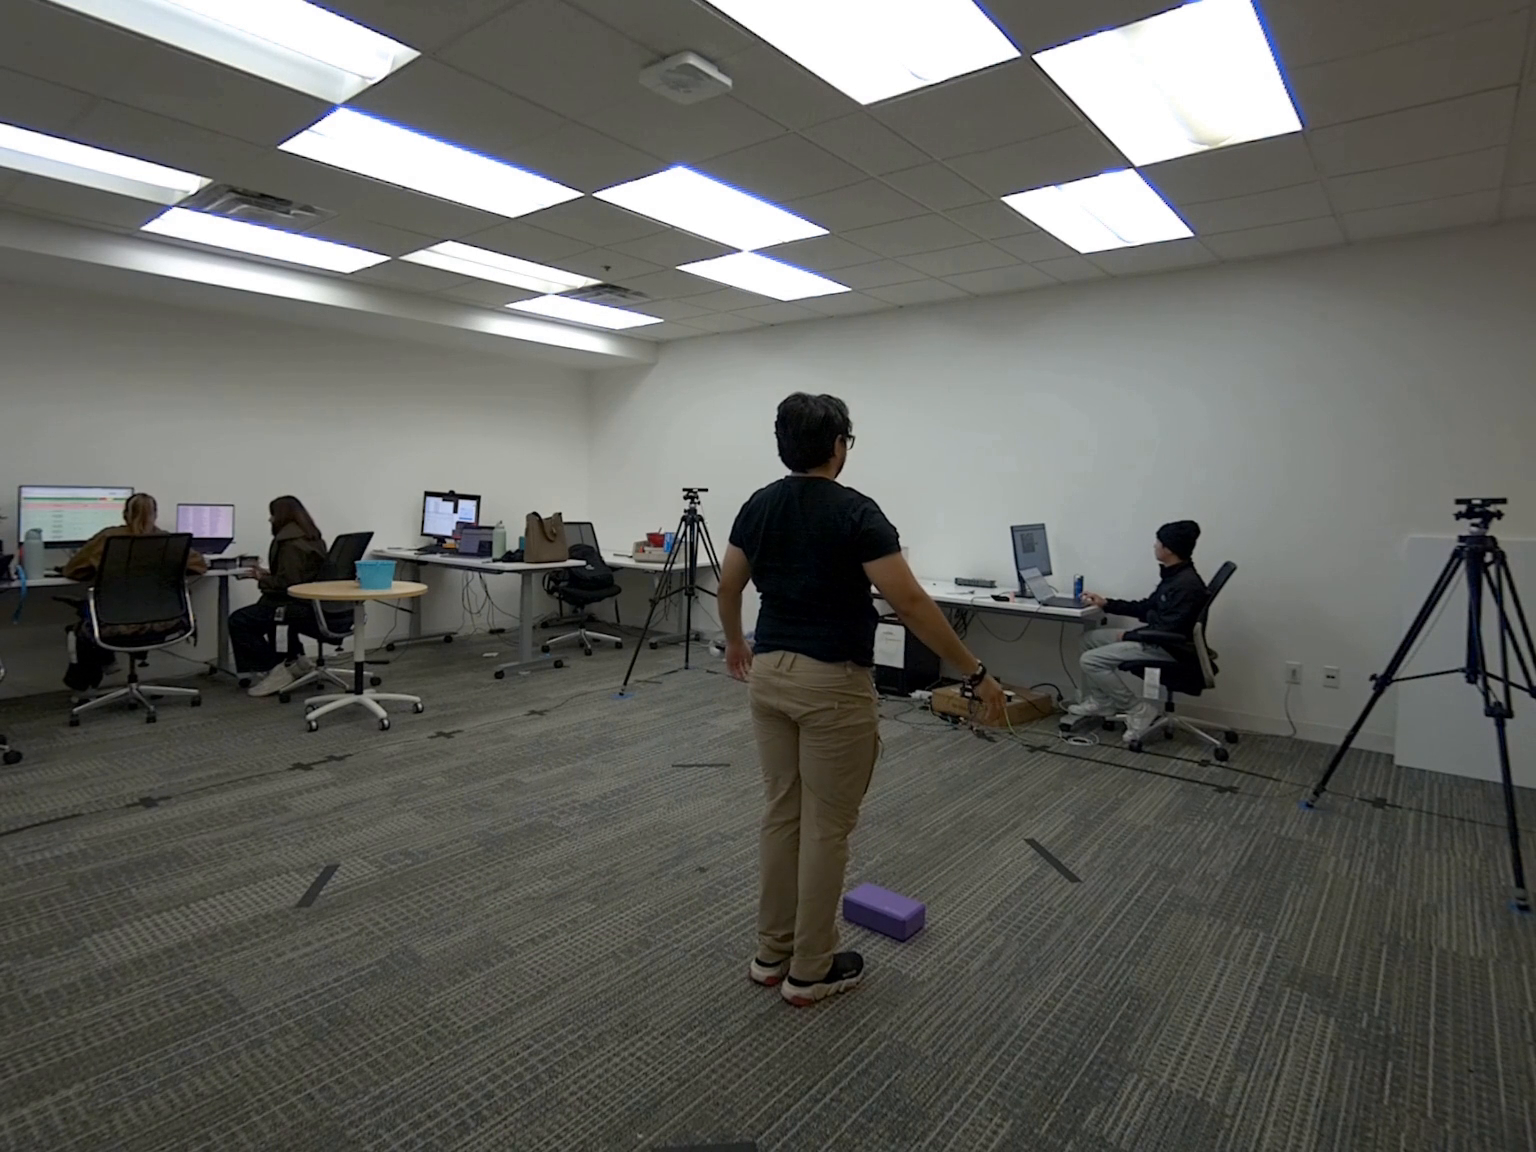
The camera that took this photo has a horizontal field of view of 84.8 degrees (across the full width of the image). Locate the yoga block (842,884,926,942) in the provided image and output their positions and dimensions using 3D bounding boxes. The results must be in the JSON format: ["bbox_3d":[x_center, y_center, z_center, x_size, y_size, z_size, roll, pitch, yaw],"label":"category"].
[{"bbox_3d":[0.368,1.078,2.754,0.237,0.076,0.144,5,6,38],"label":"yoga block"}]
